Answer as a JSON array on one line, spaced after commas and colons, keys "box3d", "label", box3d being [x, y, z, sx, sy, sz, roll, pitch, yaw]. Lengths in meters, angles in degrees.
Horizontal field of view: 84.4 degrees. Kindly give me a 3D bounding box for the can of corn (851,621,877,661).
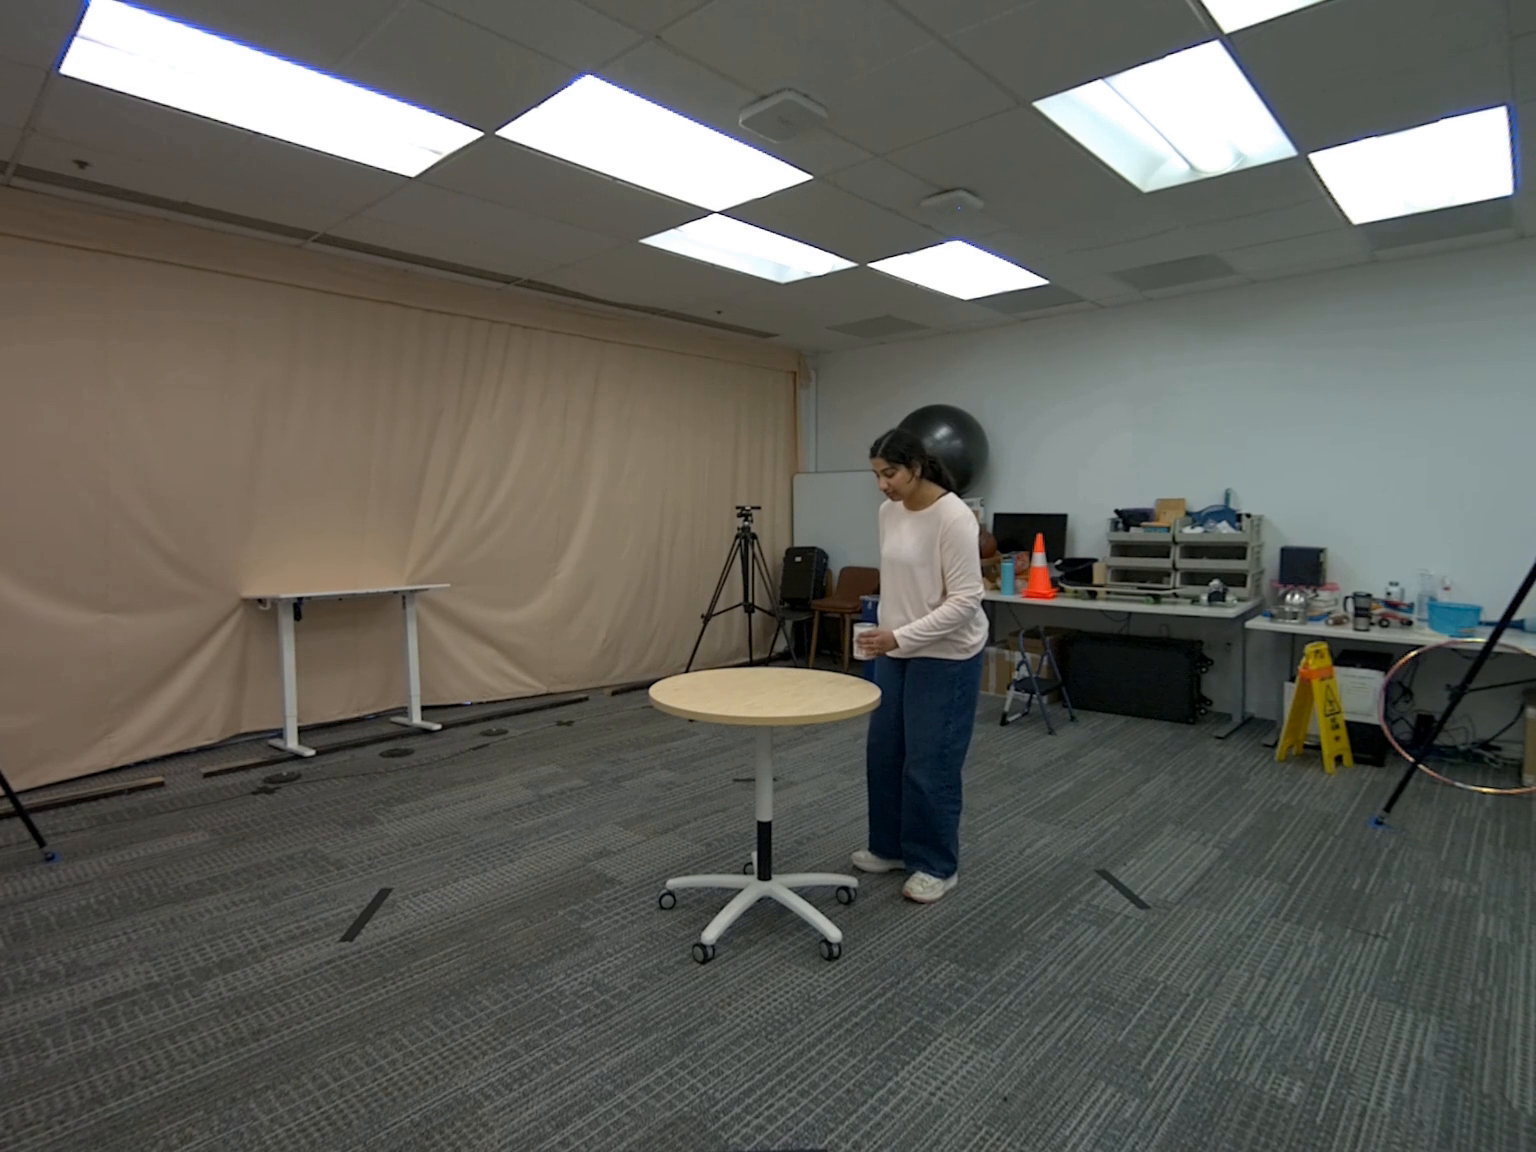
[{"box3d": [0.338, 0.226, 2.822, 0.074, 0.110, 0.074, 3, 8, -2], "label": "can of corn"}]
